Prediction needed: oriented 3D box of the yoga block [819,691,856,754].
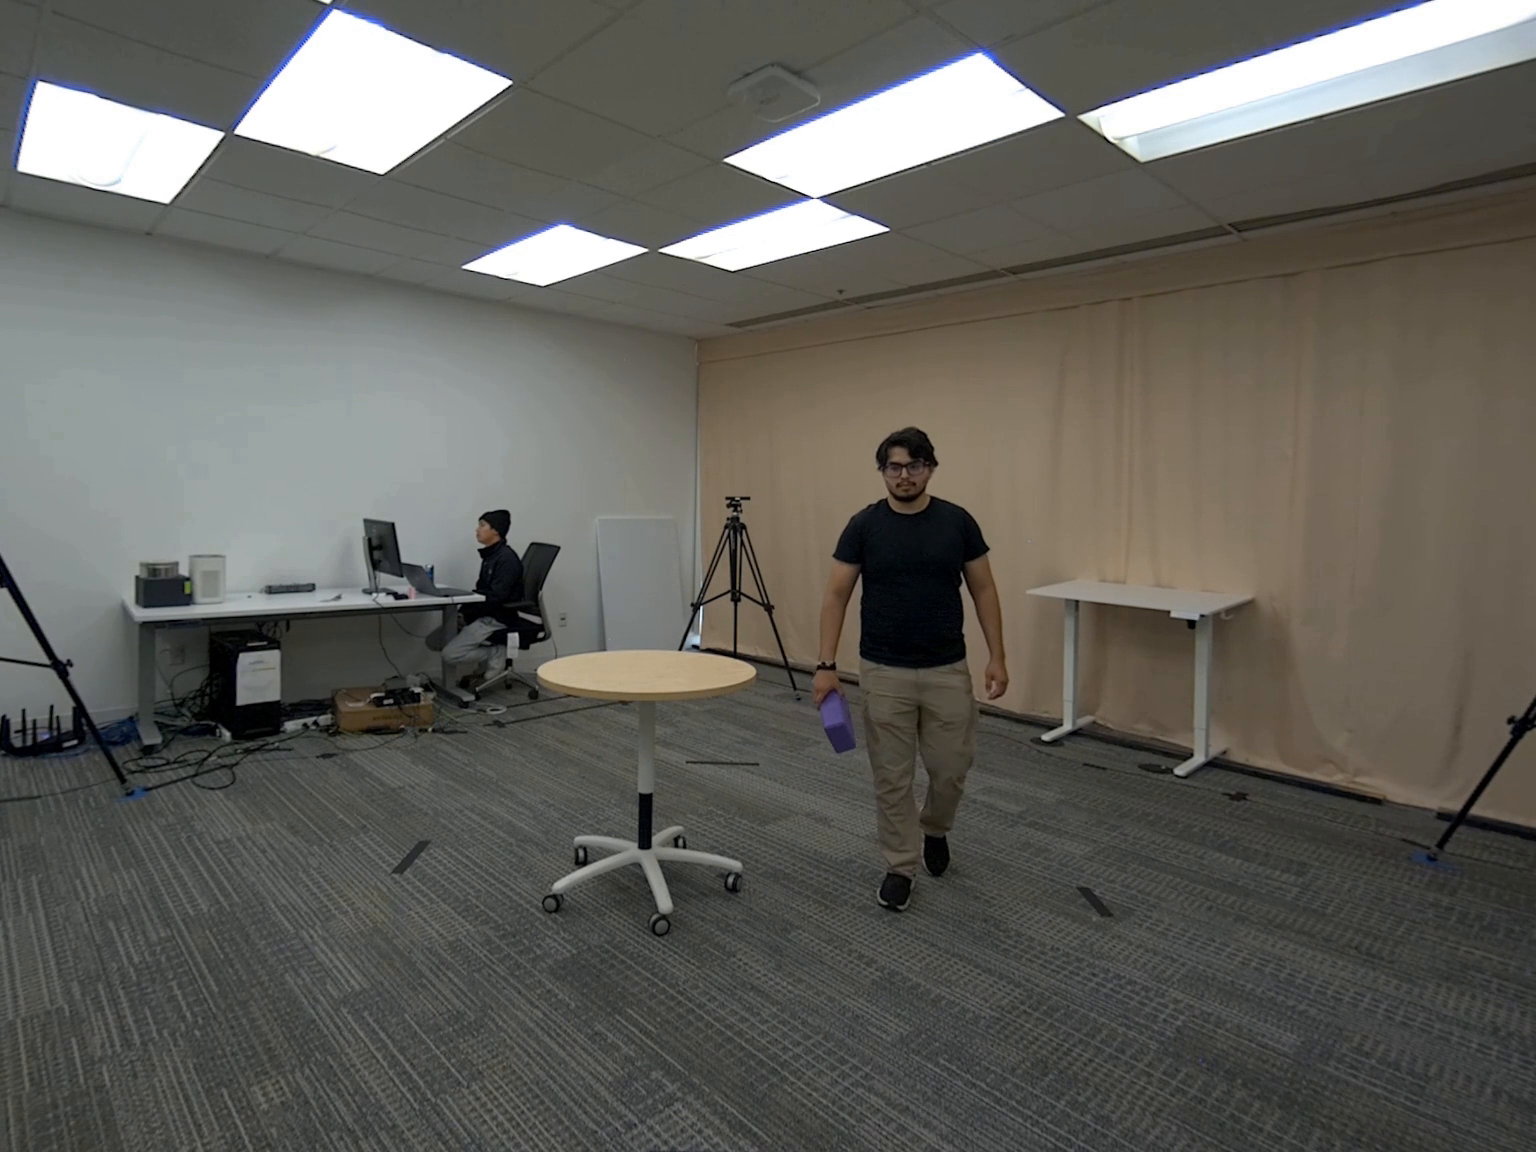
[{"bbox_3d":[0.235,0.475,2.930,0.077,0.145,0.235,-19,38,10],"label":"yoga block"}]
